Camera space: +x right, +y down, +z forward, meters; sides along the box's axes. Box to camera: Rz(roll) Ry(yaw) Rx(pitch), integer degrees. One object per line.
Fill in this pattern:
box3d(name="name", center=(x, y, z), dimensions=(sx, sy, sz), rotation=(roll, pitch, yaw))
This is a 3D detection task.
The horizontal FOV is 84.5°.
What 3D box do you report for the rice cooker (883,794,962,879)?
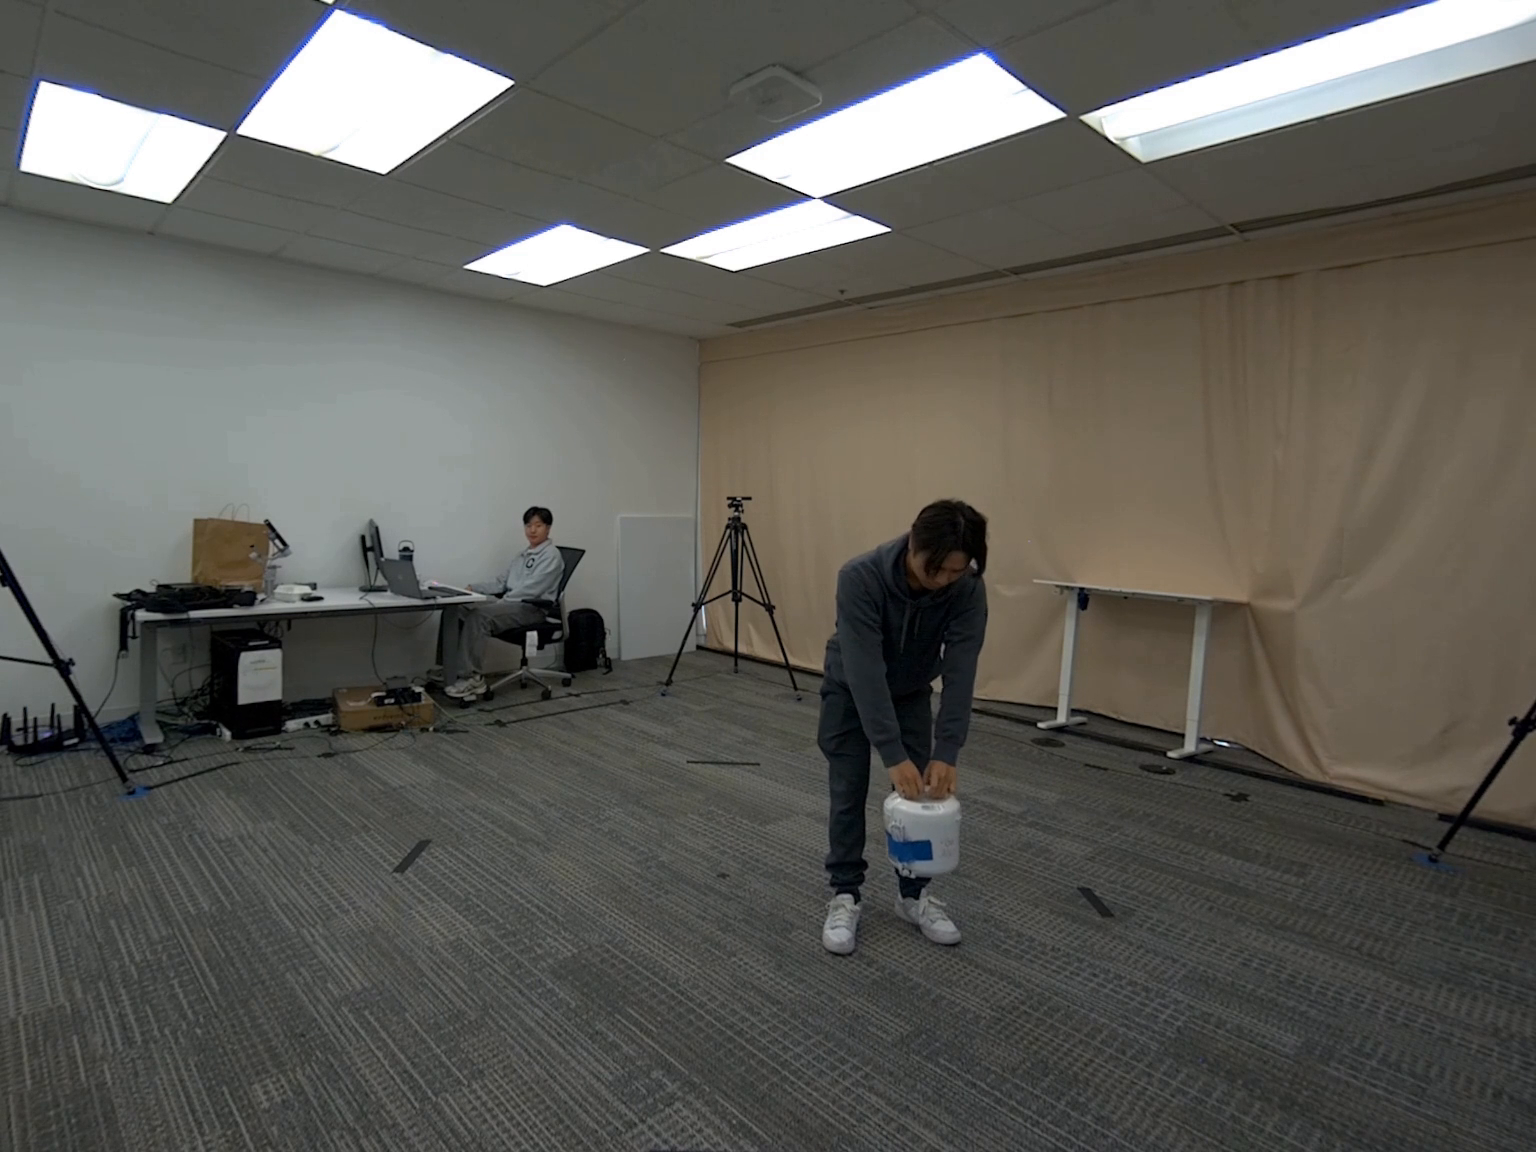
box3d(name="rice cooker", center=(0.436, 0.721, 2.416), dimensions=(0.220, 0.232, 0.218), rotation=(0, 3, -4))
